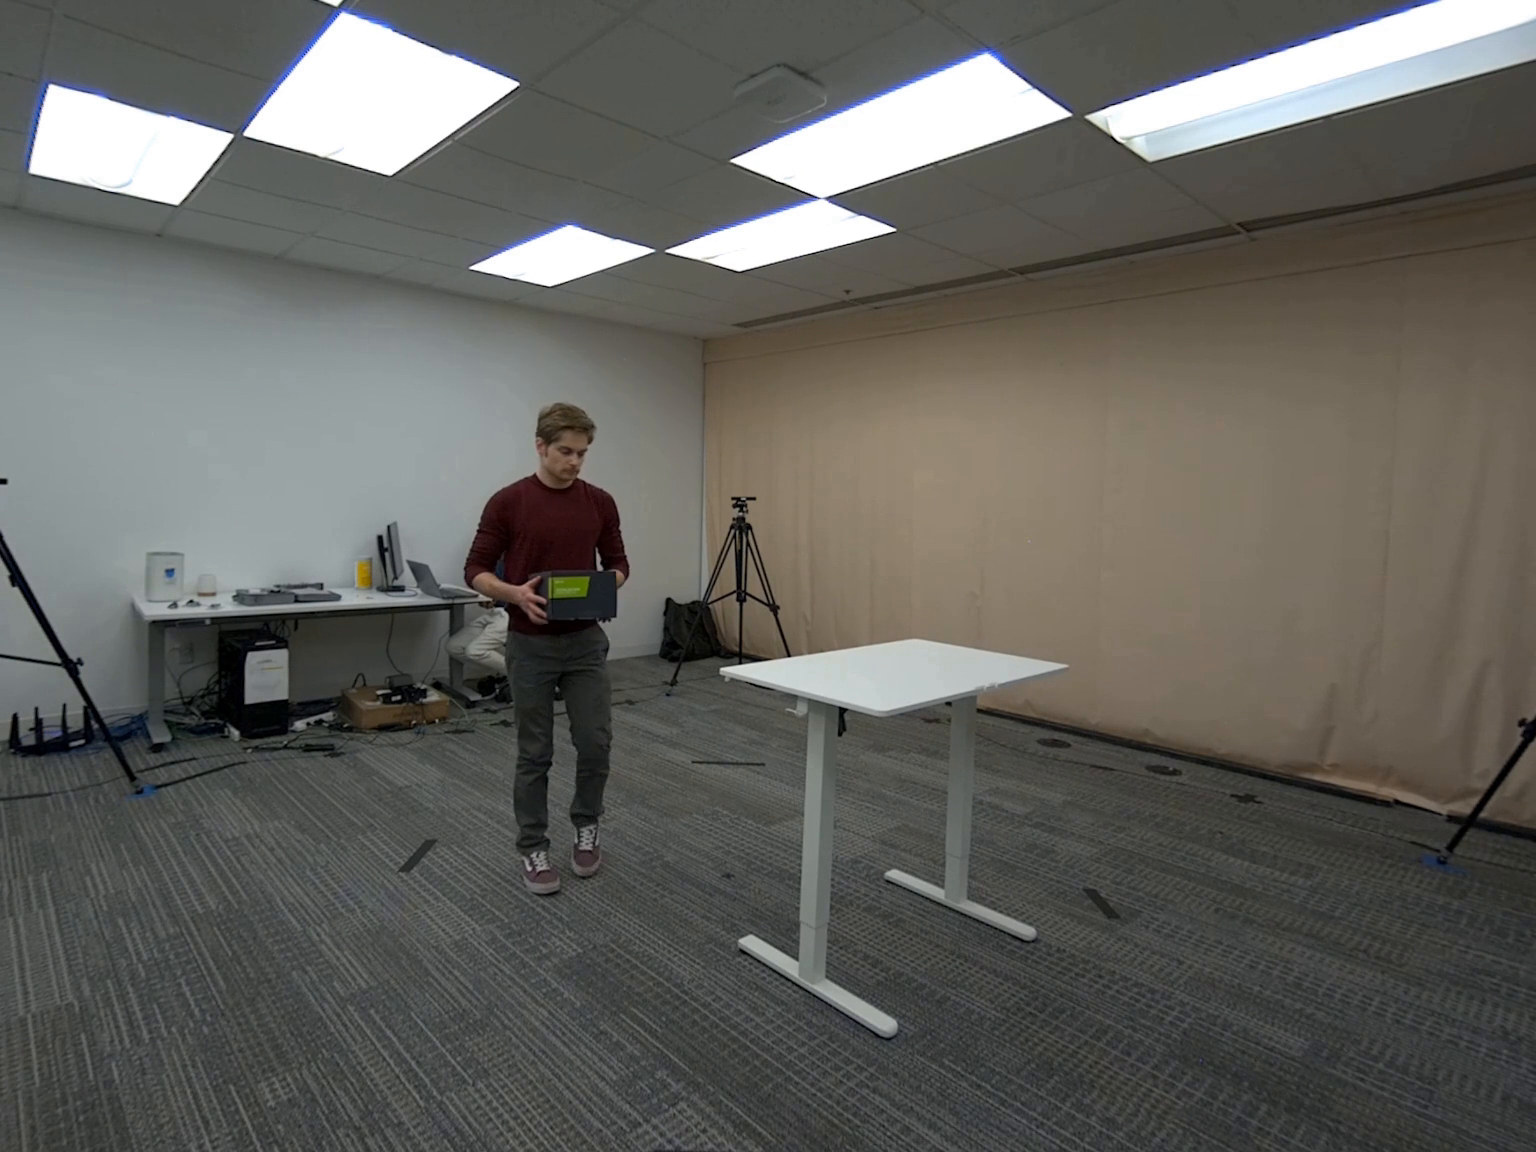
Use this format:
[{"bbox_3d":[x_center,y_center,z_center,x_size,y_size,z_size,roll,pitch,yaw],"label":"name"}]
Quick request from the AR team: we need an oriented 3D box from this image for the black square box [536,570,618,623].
[{"bbox_3d":[-0.663,0.062,2.803,0.223,0.156,0.221,1,-2,-33],"label":"black square box"}]
